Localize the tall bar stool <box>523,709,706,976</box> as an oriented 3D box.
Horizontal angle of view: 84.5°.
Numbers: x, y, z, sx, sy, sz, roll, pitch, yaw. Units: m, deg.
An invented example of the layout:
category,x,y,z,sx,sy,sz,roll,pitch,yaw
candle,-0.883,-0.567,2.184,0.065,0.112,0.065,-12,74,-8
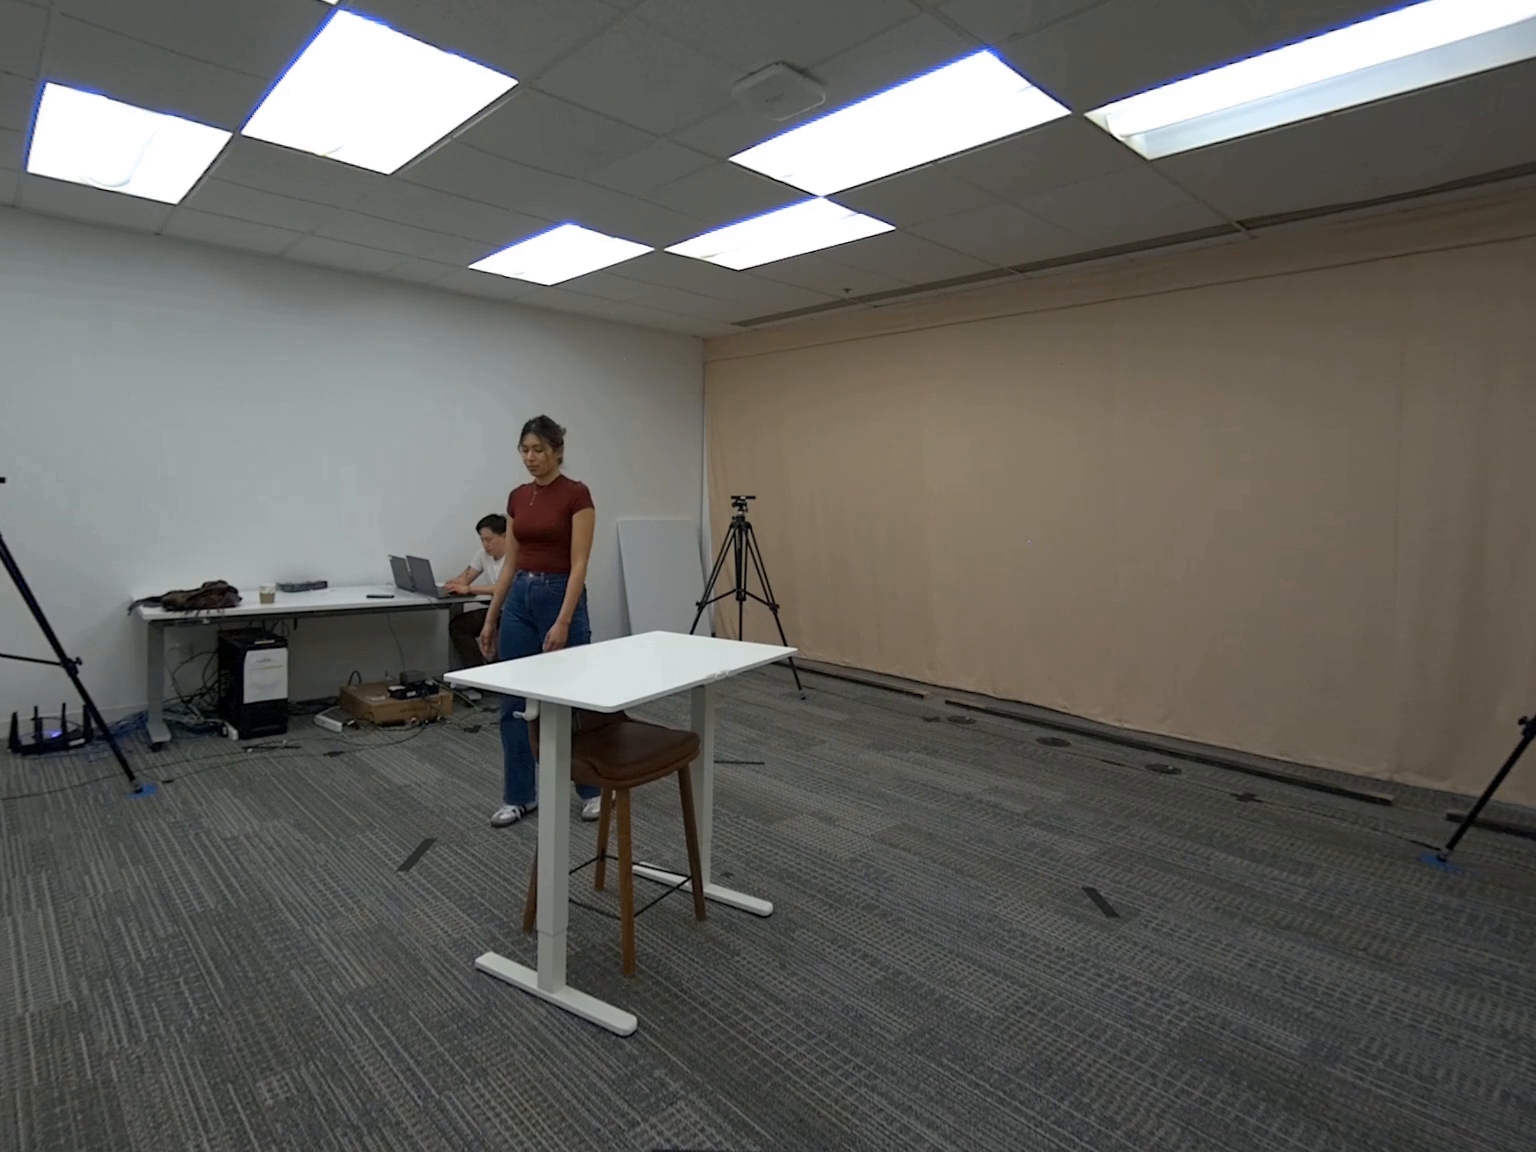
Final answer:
category,x,y,z,sx,sy,sz,roll,pitch,yaw
tall bar stool,-0.495,0.703,2.688,0.477,0.888,0.447,2,3,30
